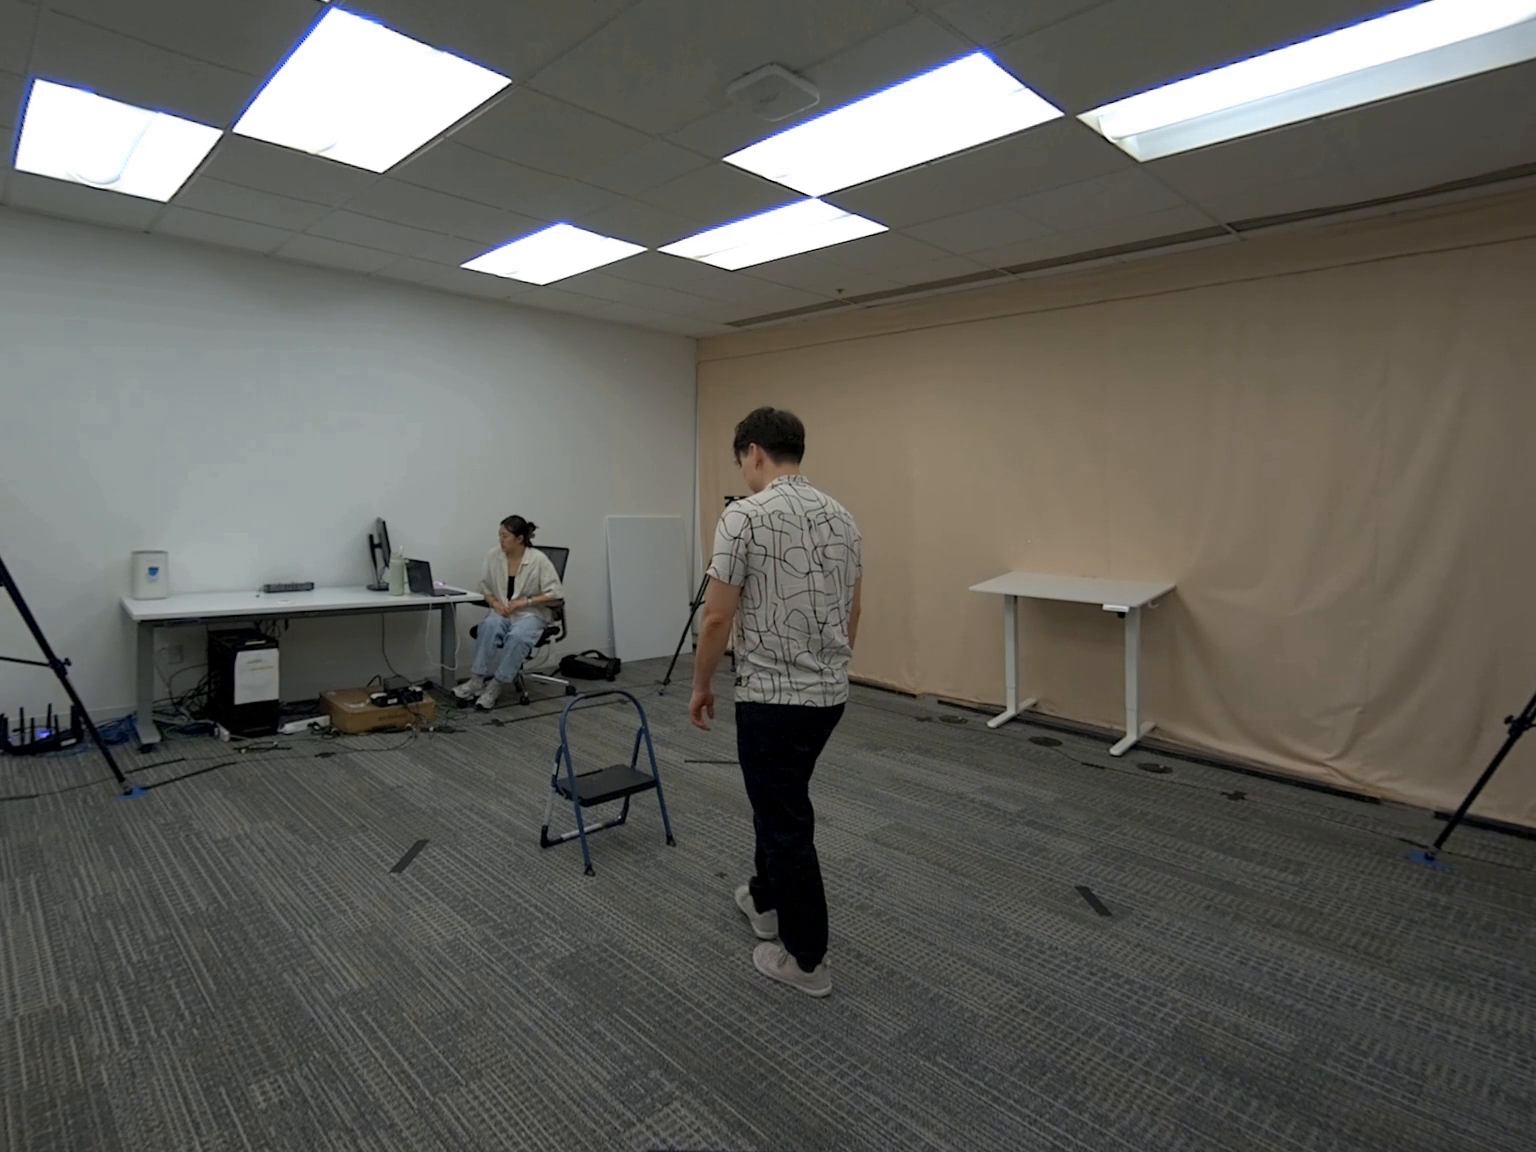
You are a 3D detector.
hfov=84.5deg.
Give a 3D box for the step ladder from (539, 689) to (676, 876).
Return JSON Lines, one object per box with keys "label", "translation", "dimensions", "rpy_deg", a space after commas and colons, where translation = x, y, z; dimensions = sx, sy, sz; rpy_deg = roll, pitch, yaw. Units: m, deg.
{"label": "step ladder", "translation": [-0.634, 0.771, 3.324], "dimensions": [0.358, 0.604, 0.421], "rpy_deg": [5, 5, 43]}
